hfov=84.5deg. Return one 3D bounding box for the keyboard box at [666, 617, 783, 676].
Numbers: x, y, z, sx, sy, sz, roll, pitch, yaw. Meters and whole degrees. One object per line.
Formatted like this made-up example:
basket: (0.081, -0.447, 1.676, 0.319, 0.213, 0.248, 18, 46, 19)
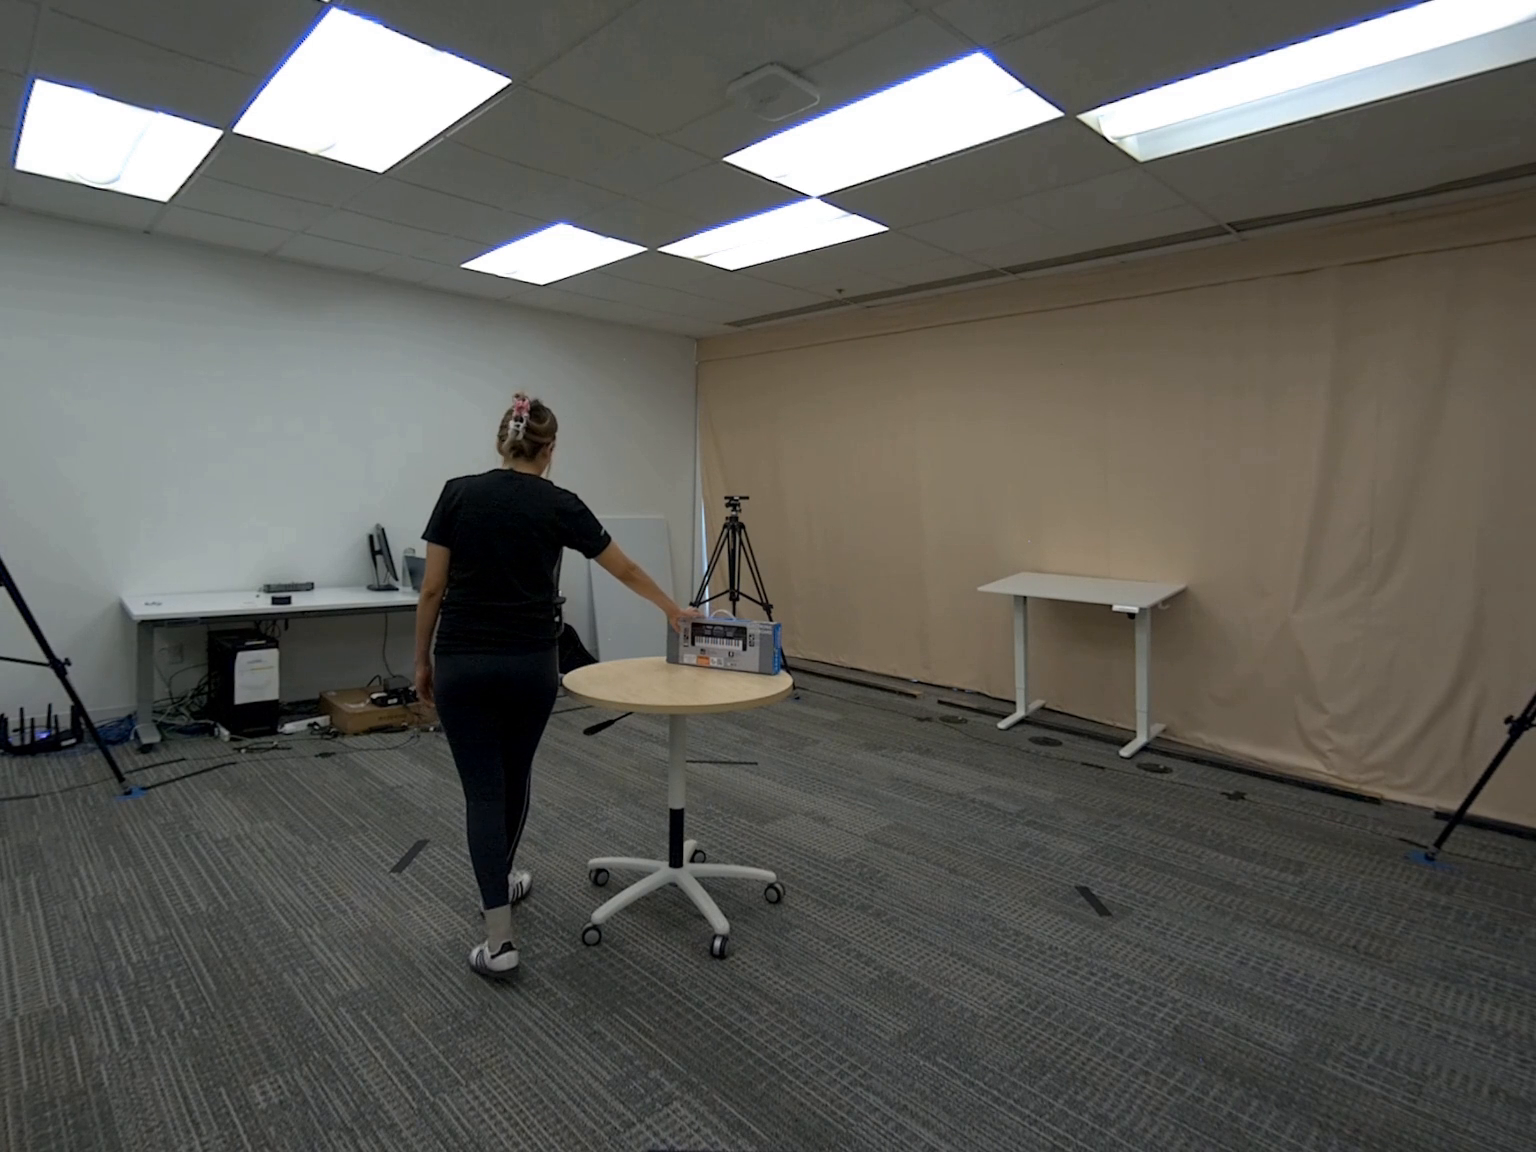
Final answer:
keyboard box: (-0.167, 0.241, 2.987, 0.446, 0.176, 0.058, 3, 2, 28)
